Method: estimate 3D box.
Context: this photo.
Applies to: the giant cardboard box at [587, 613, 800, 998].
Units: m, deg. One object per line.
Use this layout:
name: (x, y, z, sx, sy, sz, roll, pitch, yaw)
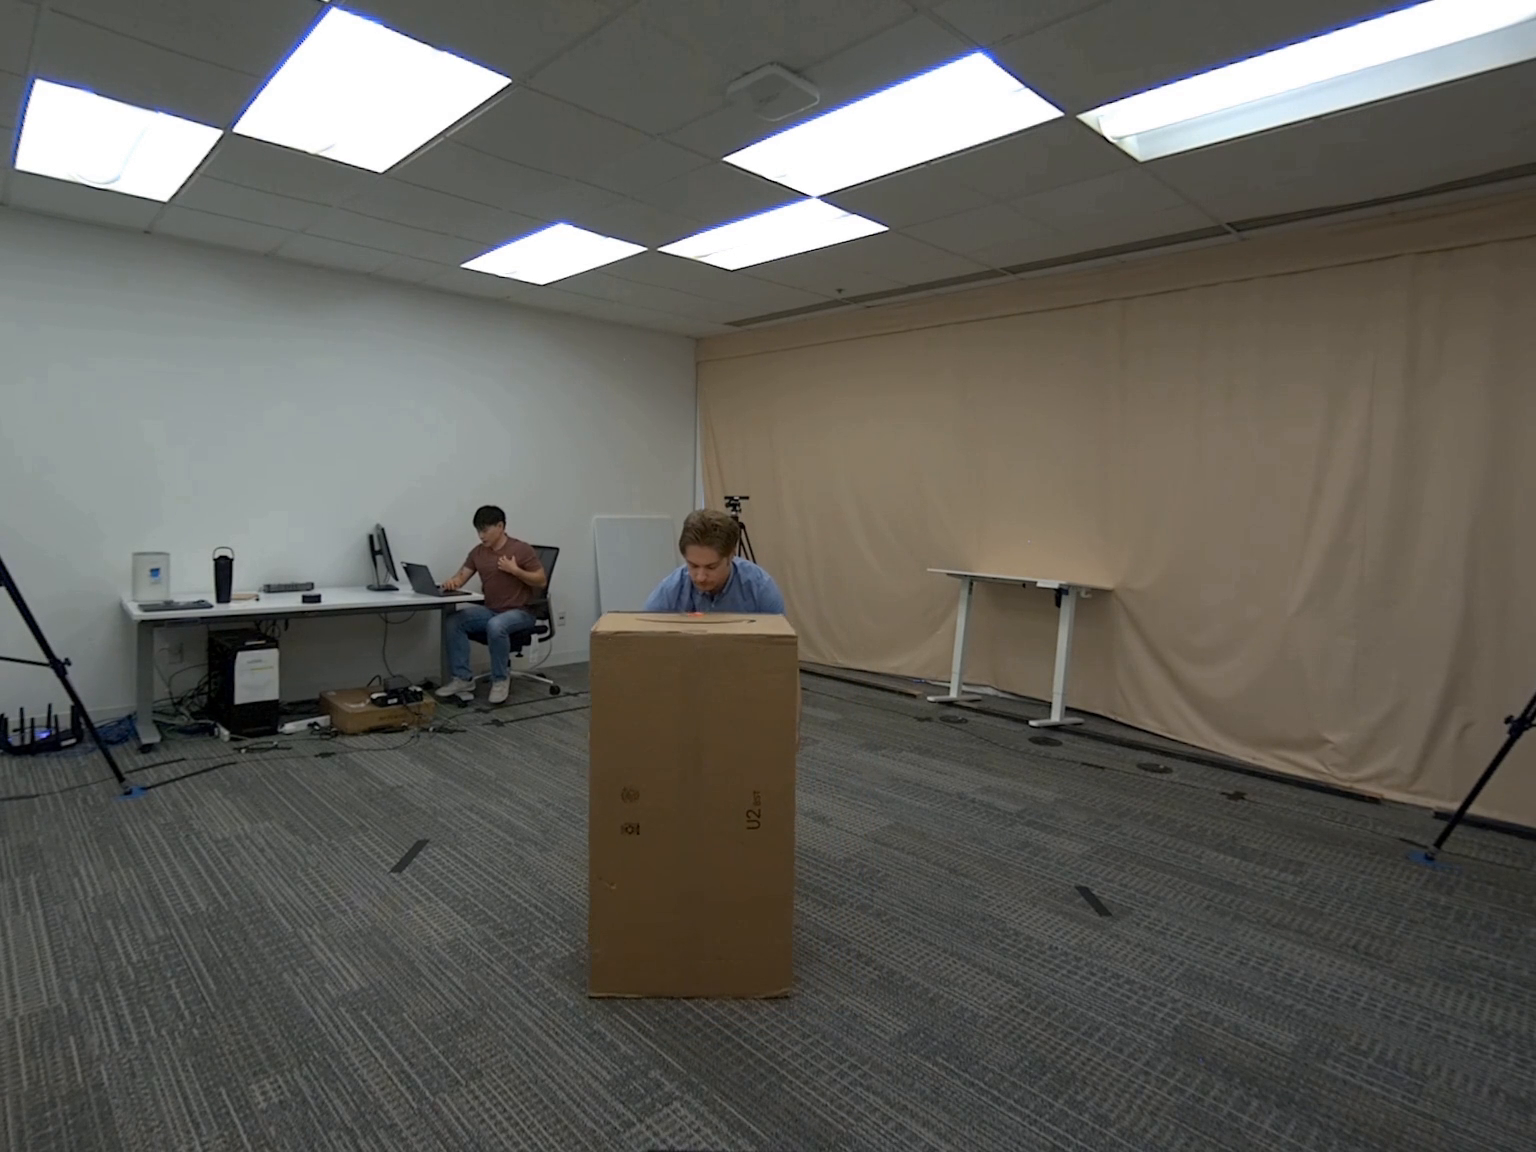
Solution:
giant cardboard box: (-0.237, 0.649, 2.516, 0.576, 1.023, 0.428, 1, 3, -3)
